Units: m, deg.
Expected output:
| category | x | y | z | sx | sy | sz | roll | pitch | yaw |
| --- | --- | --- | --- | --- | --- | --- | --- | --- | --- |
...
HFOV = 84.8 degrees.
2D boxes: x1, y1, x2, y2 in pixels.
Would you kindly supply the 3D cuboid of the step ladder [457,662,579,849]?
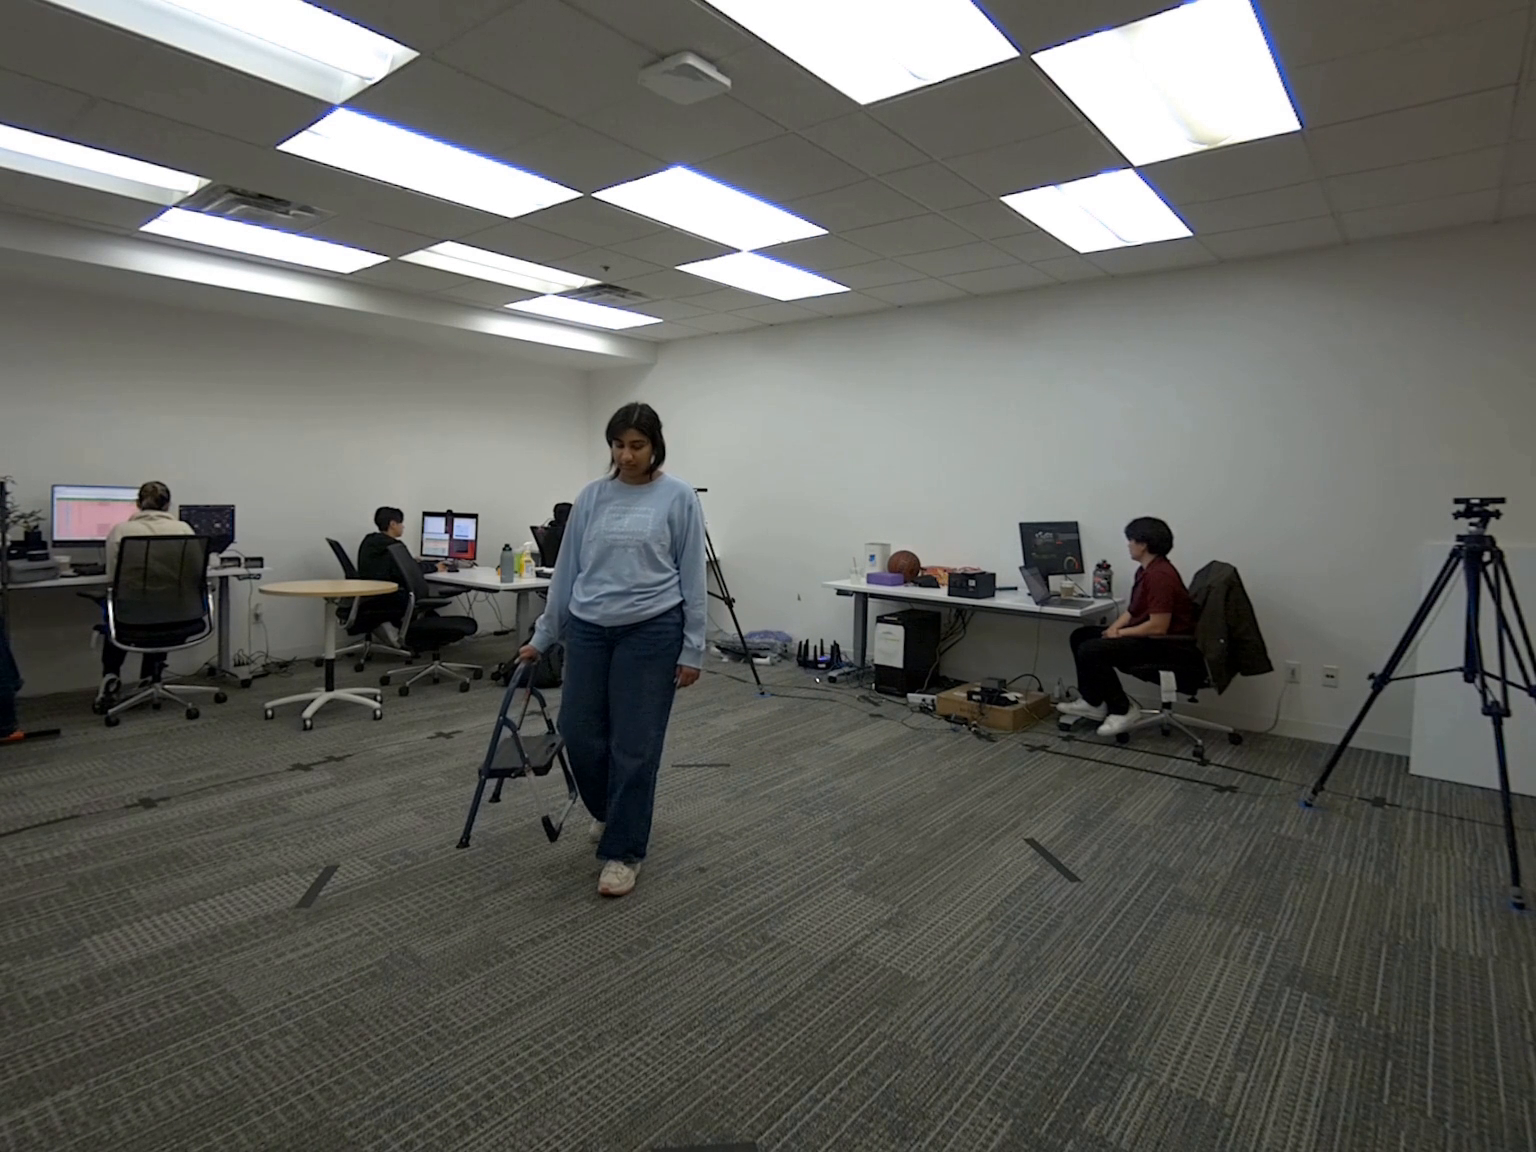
| category | x | y | z | sx | sy | sz | roll | pitch | yaw |
| --- | --- | --- | --- | --- | --- | --- | --- | --- | --- |
| step ladder | -0.934 | 0.595 | 3.089 | 0.349 | 0.603 | 0.433 | -3 | 5 | -2 |
